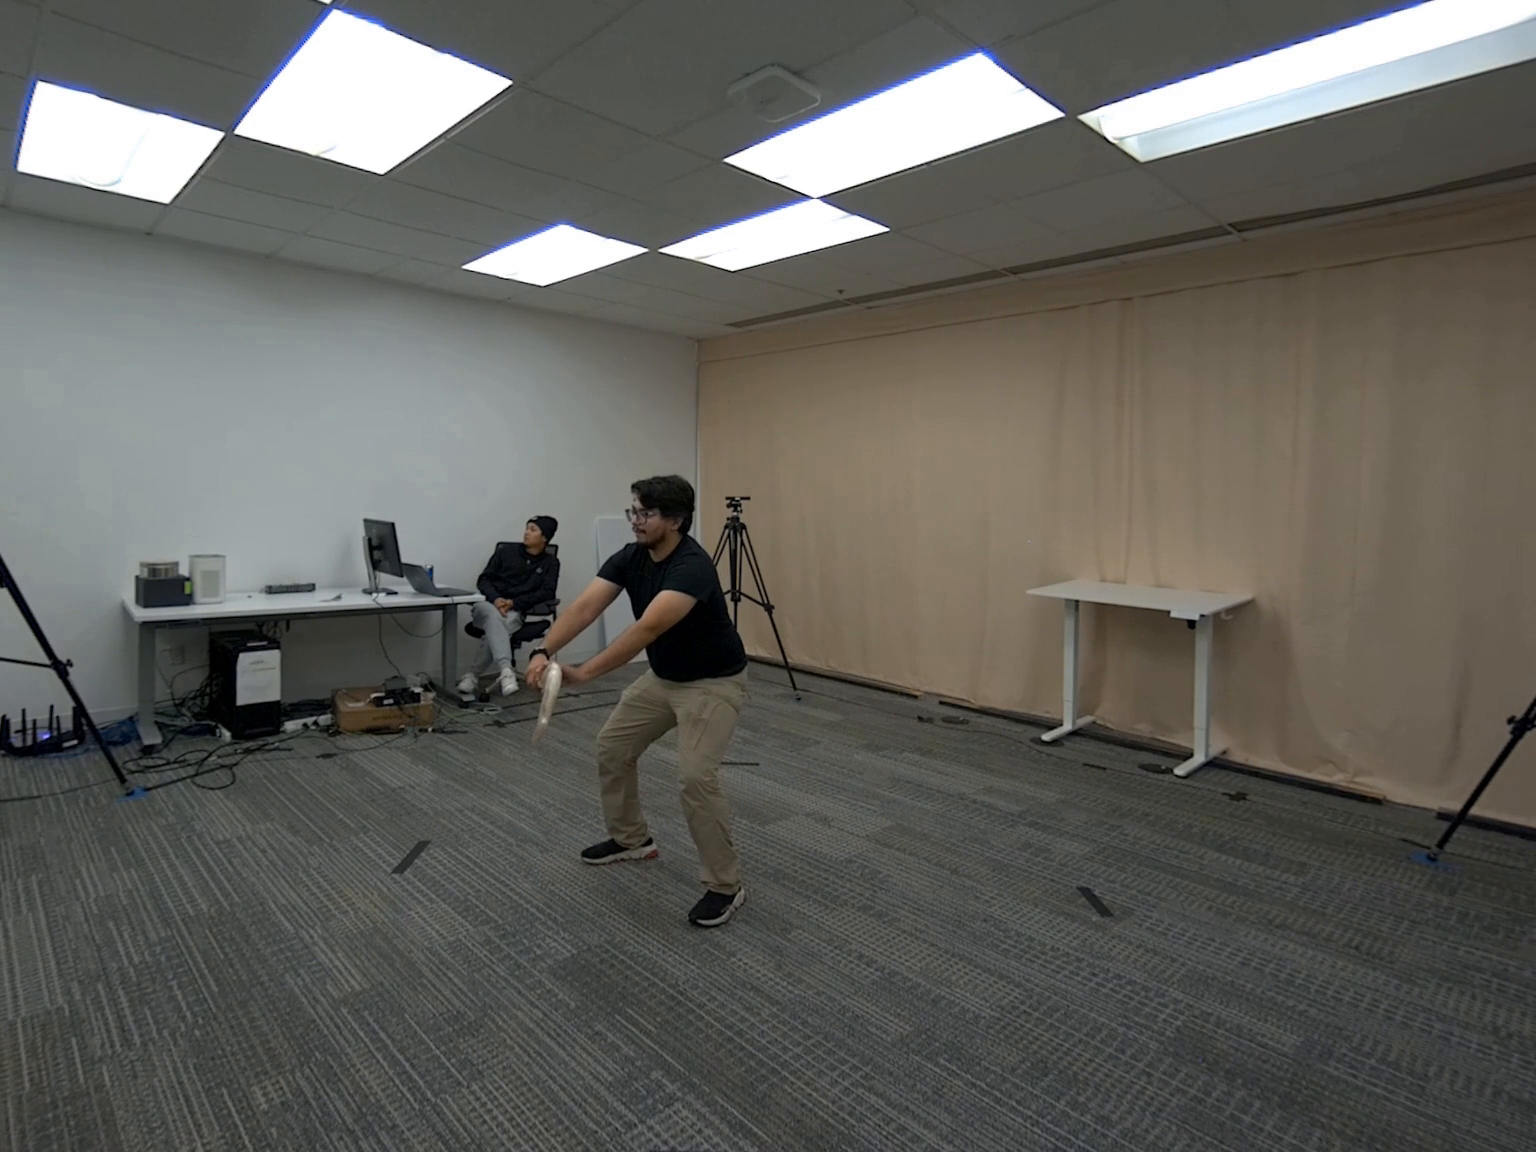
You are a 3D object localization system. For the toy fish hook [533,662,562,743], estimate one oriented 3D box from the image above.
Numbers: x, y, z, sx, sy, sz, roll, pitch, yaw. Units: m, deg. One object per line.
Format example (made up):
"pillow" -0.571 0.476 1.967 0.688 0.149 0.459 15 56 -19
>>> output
"toy fish hook" -0.658 0.363 2.413 0.047 0.225 0.512 18 -7 -16
